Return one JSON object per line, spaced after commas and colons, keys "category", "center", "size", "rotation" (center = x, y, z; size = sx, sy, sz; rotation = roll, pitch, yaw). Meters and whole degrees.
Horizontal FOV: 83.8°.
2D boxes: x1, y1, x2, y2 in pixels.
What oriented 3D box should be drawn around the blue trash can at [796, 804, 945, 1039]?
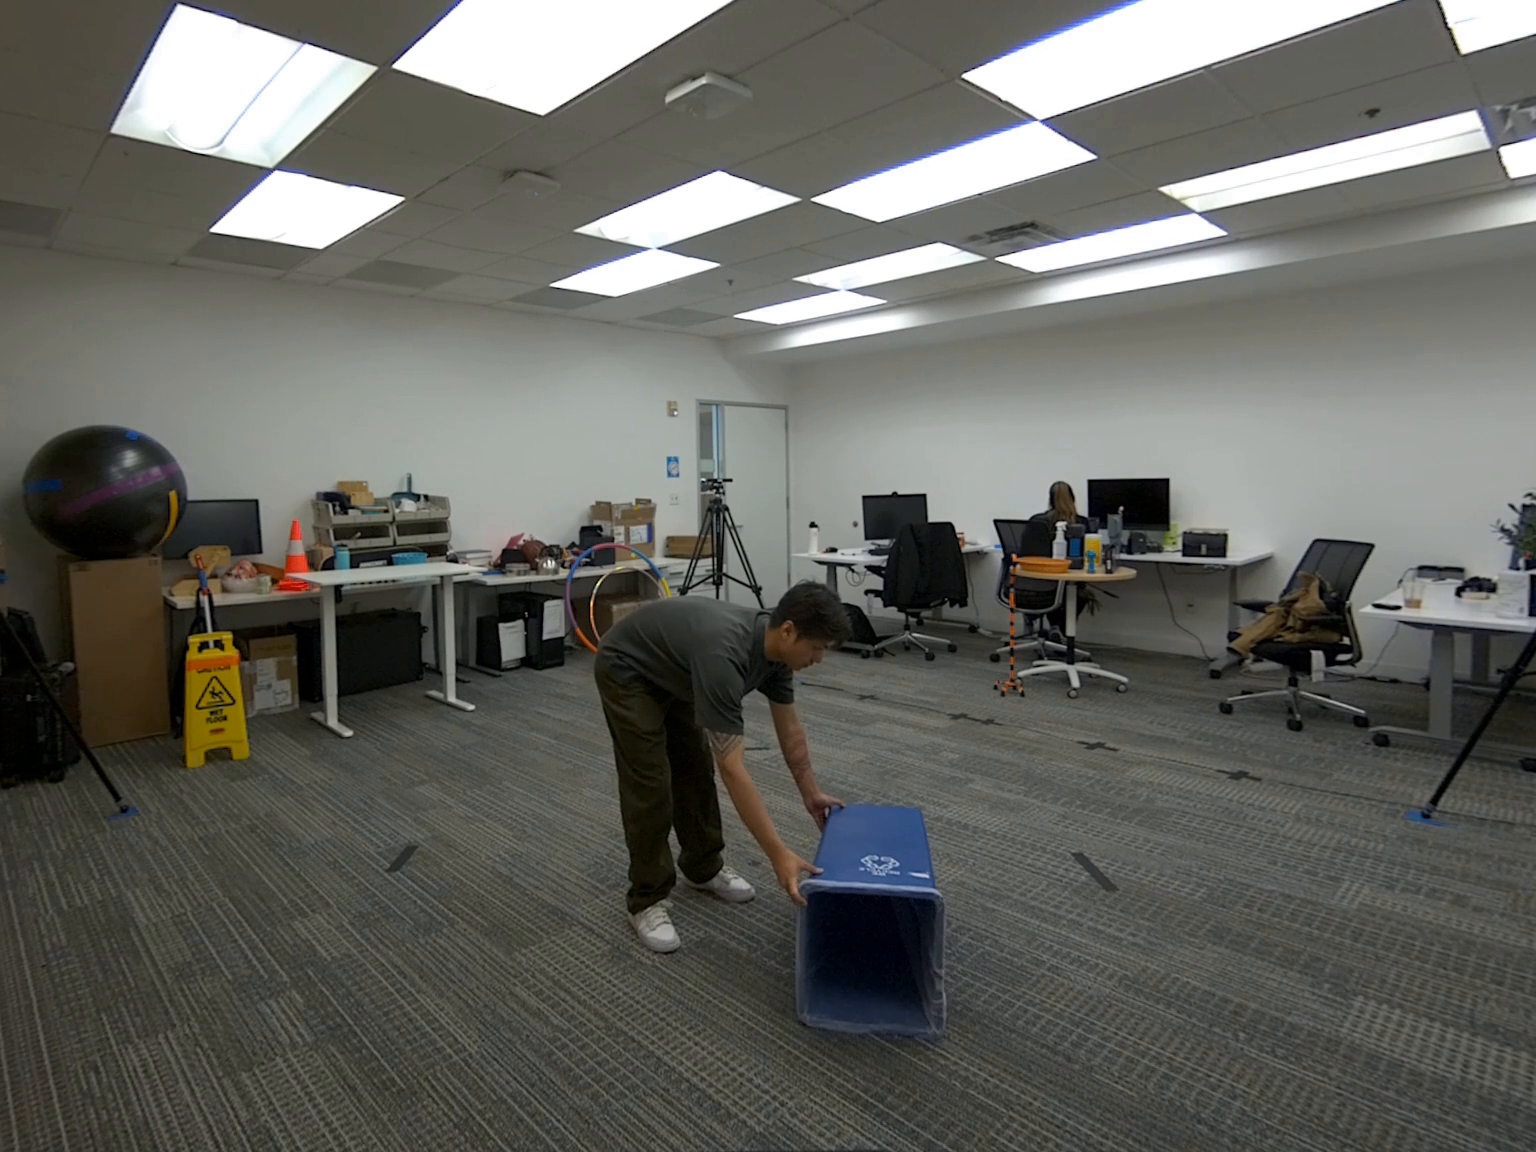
{"category": "blue trash can", "center": [0.312, 0.940, 2.488], "size": [0.382, 0.373, 0.708], "rotation": [0, 4, 9]}
